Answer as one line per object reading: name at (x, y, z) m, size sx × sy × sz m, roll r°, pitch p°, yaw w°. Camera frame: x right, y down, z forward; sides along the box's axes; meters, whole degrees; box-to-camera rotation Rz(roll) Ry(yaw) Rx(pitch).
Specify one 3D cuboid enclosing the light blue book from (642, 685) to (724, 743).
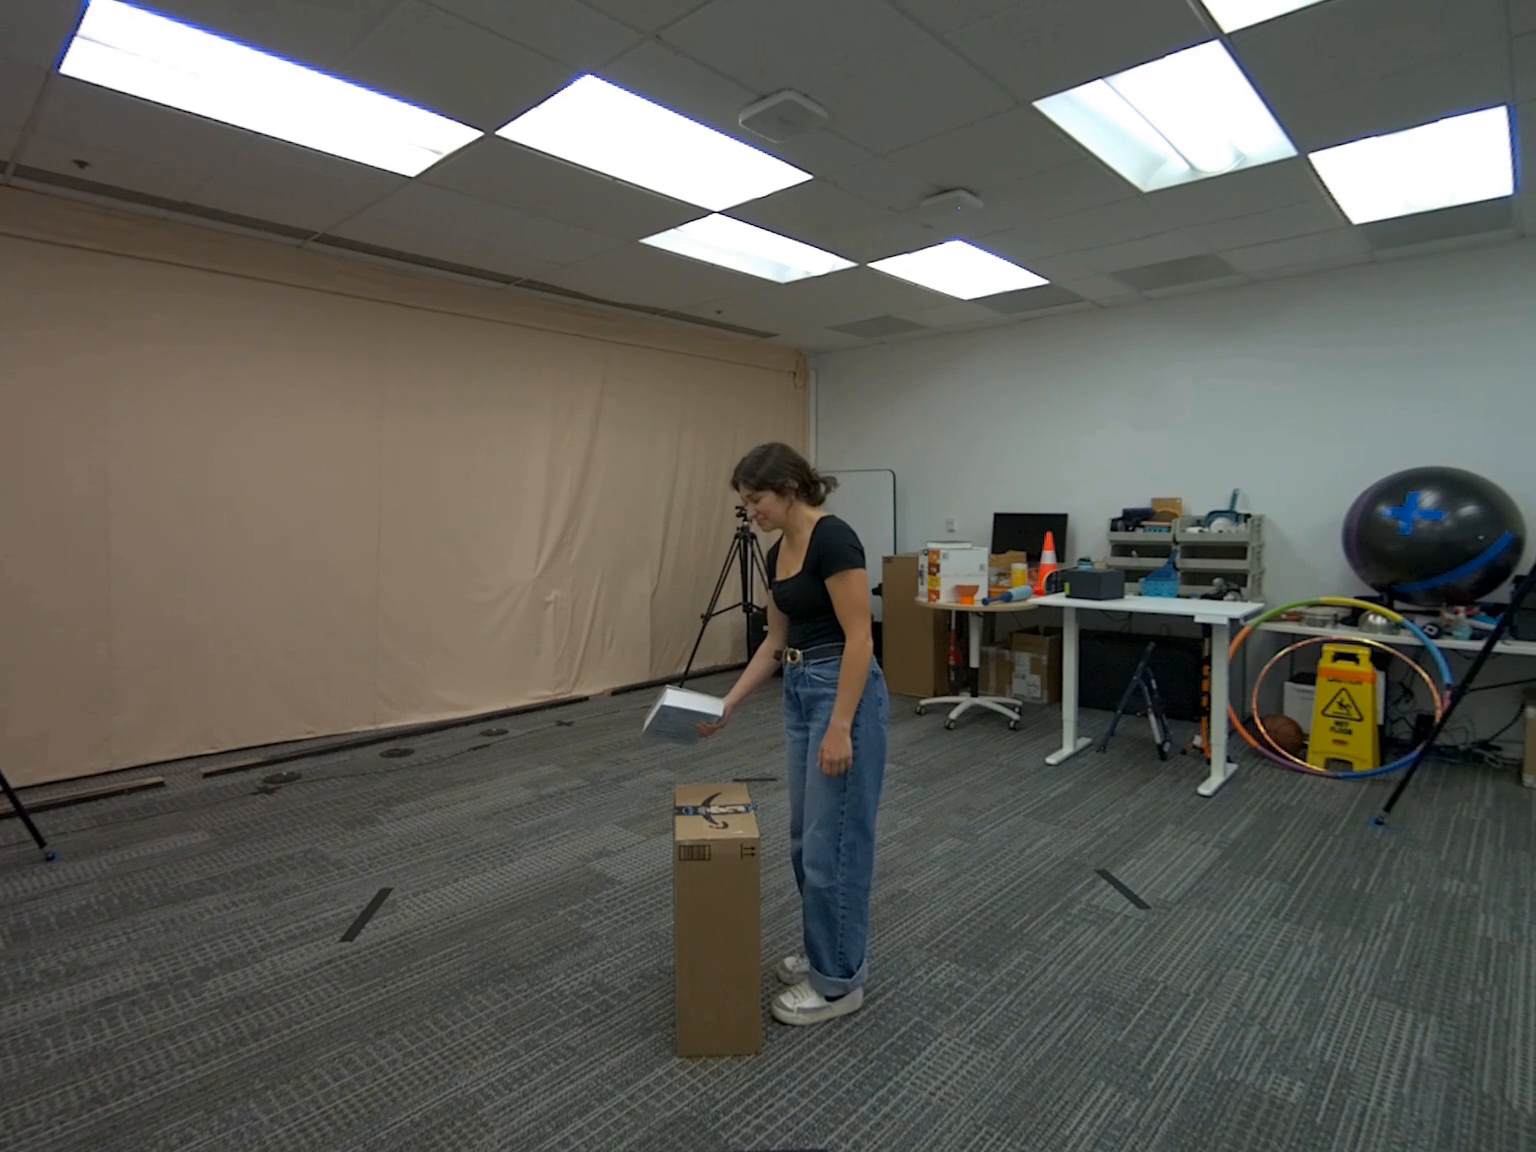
light blue book at (-0.275, 0.439, 2.588) m, size 0.188 × 0.060 × 0.261 m, roll 16°, pitch -36°, yaw -14°
